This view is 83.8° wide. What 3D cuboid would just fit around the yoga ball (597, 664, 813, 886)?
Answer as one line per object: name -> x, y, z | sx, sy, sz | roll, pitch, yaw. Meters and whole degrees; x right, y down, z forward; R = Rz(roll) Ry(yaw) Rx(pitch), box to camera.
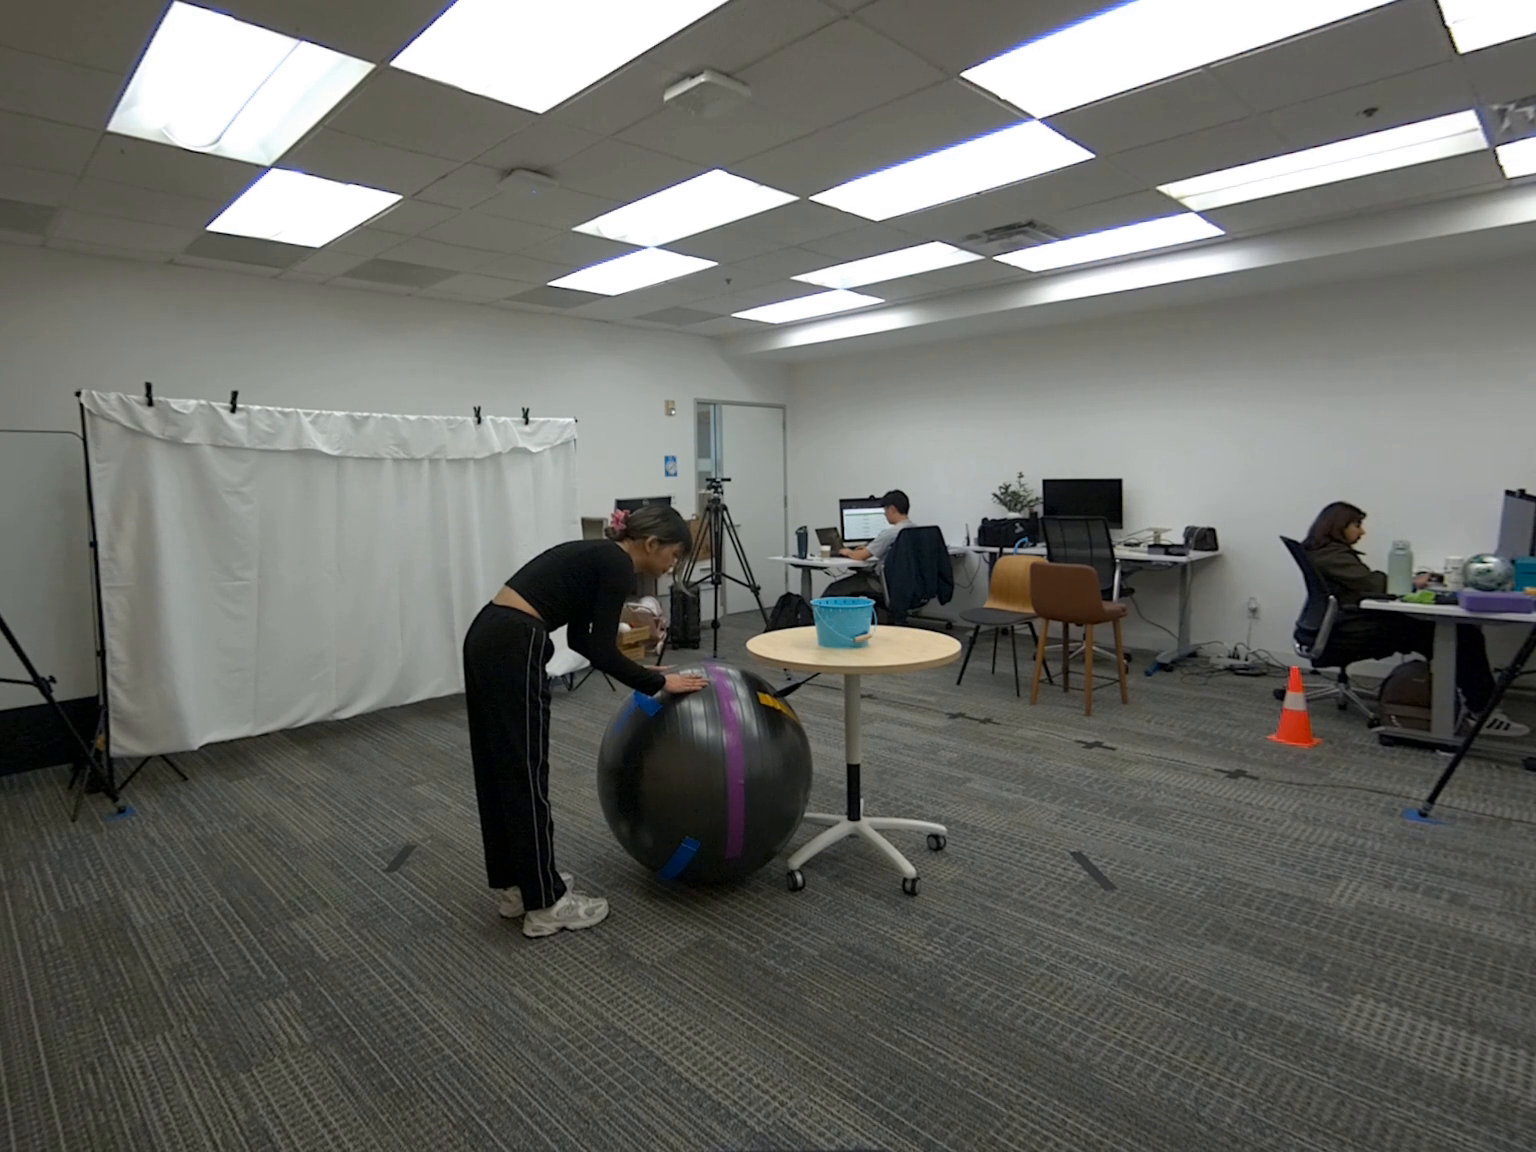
yoga ball -> -0.233, 0.692, 3.018 | 0.757, 0.755, 0.762 | -1, 5, -2
